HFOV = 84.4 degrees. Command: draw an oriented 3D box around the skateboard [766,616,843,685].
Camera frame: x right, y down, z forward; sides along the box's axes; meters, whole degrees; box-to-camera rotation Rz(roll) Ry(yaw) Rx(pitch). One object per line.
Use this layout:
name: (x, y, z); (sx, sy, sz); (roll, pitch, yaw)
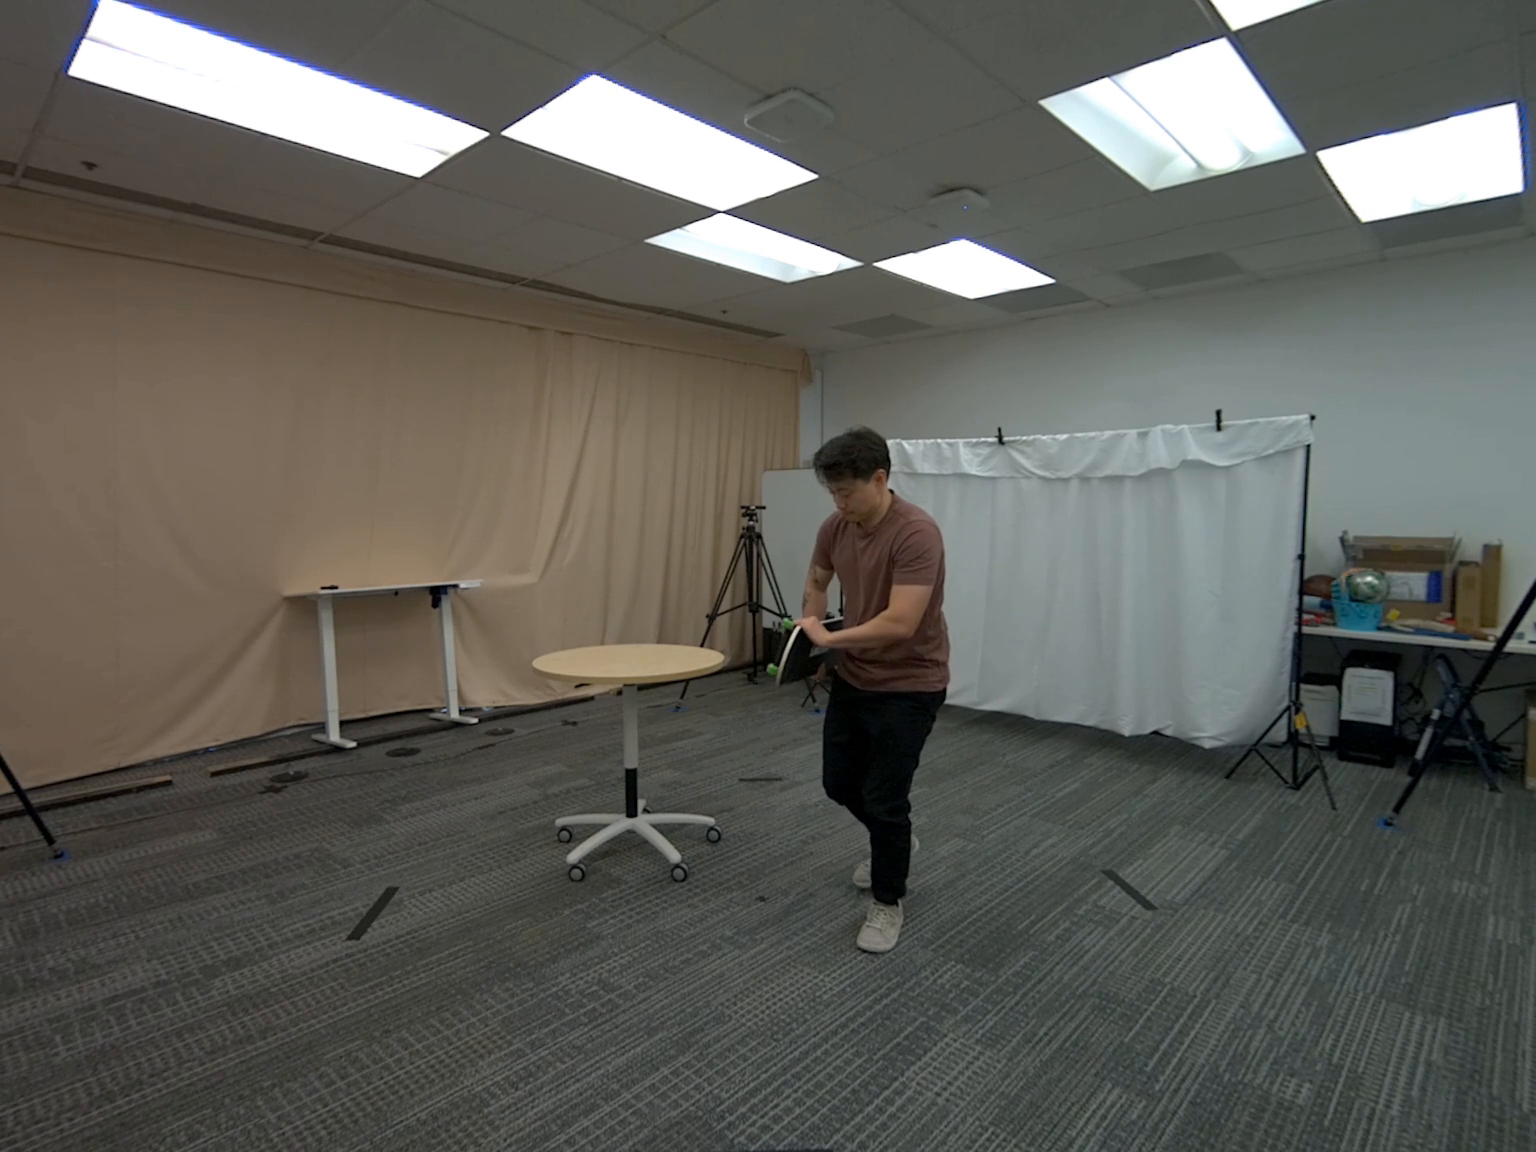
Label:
skateboard: (0.141, 0.239, 2.797); (0.113, 0.193, 0.766); (18, 7, 22)
